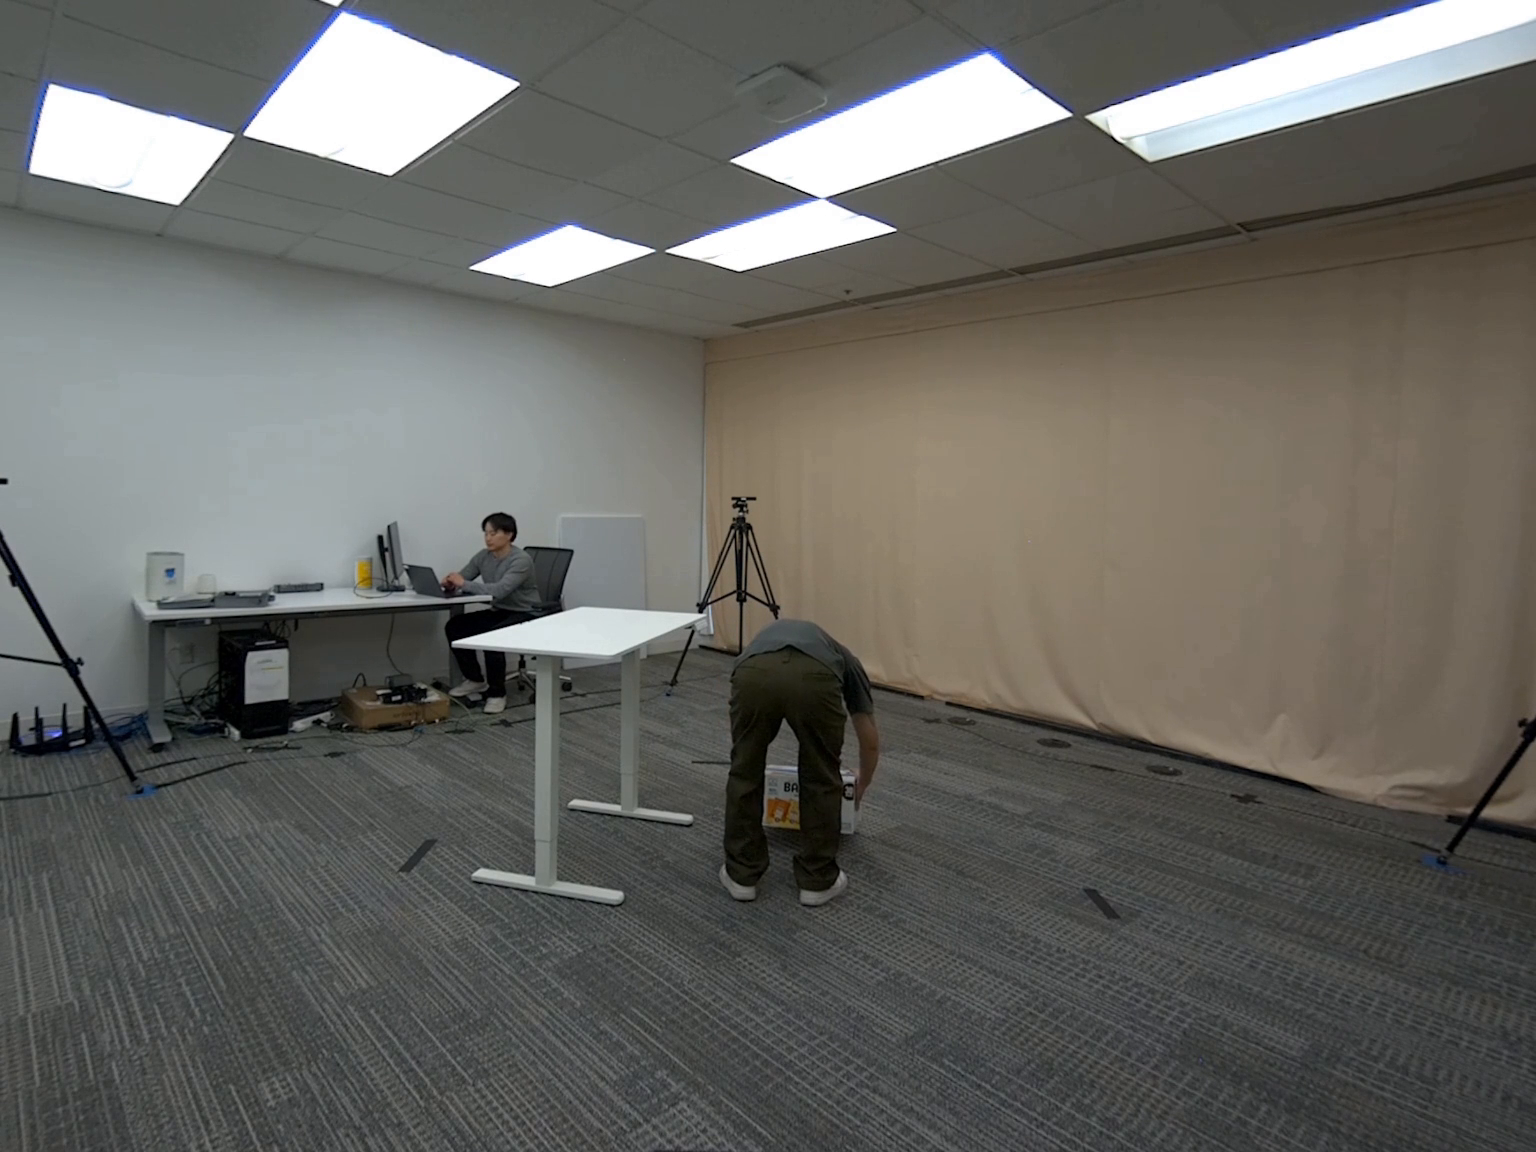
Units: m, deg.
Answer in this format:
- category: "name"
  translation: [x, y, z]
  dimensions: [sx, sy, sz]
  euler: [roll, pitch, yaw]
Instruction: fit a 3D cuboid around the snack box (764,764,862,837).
- category: "snack box"
  translation: [0.169, 0.911, 3.474]
  dimensions: [0.409, 0.207, 0.335]
  euler: [1, -7, 12]
